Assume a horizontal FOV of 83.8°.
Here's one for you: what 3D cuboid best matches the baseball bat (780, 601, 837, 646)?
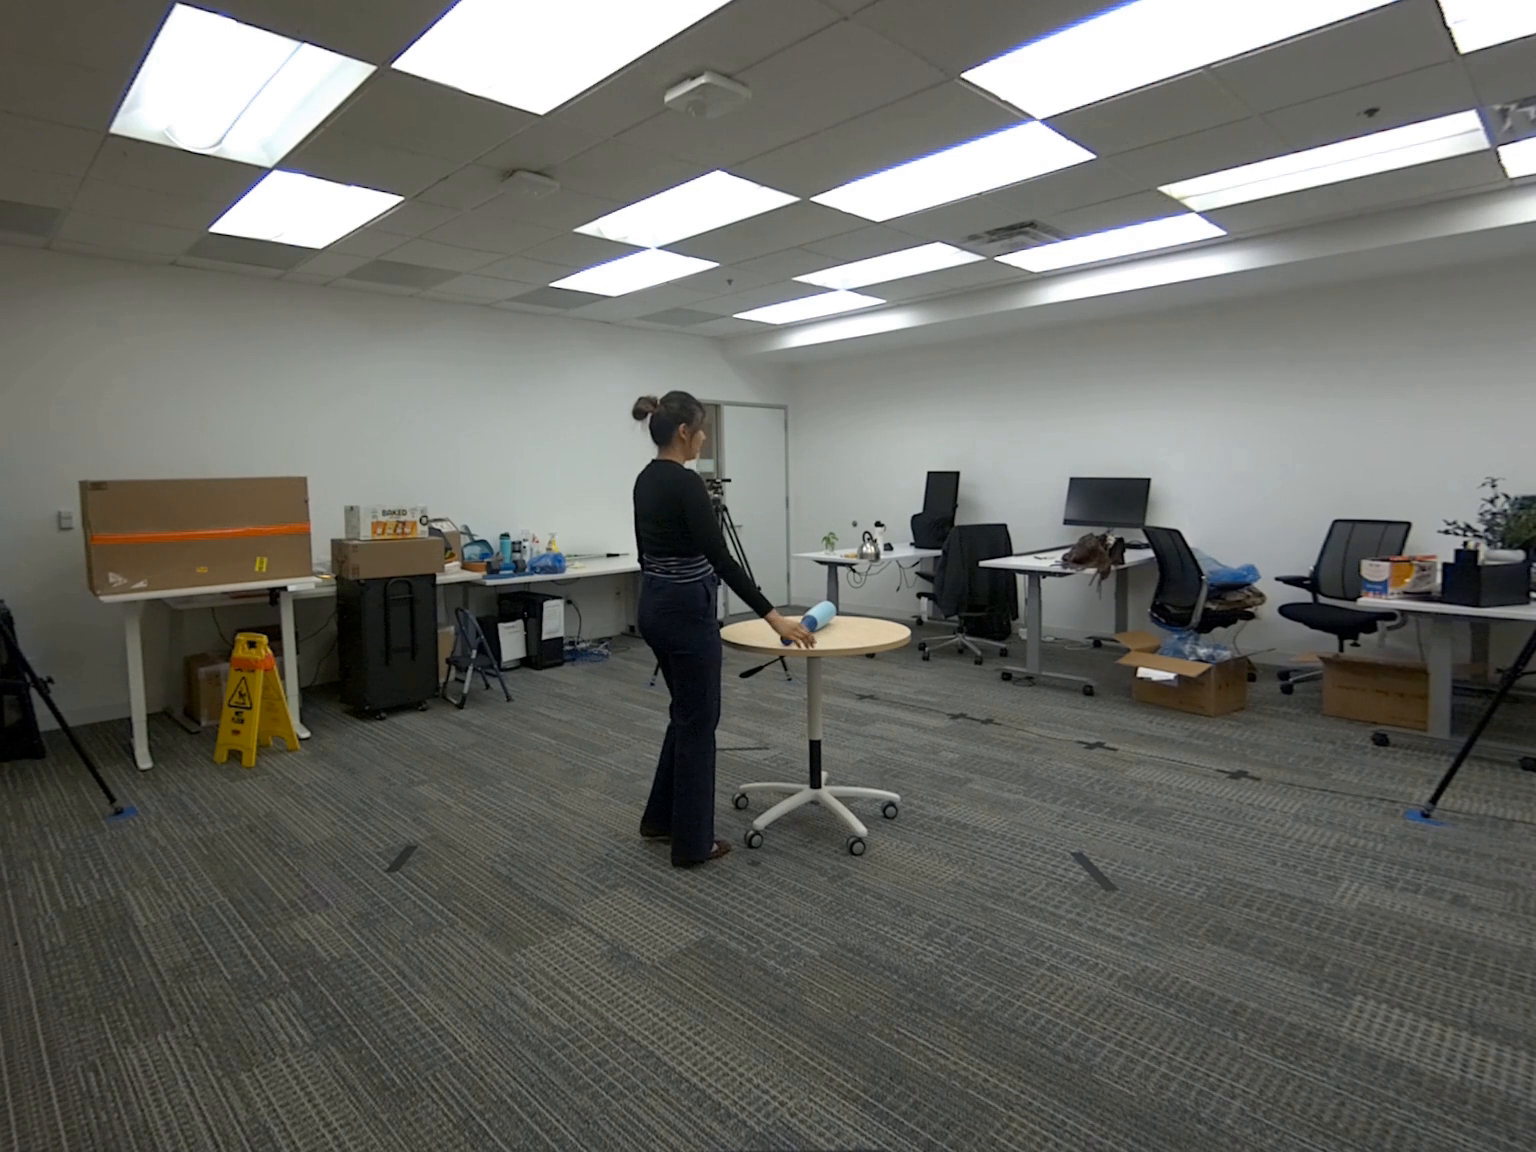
[{"bbox_3d":[0.153,0.192,3.375,0.091,0.088,0.536,1,10,20],"label":"baseball bat"}]
